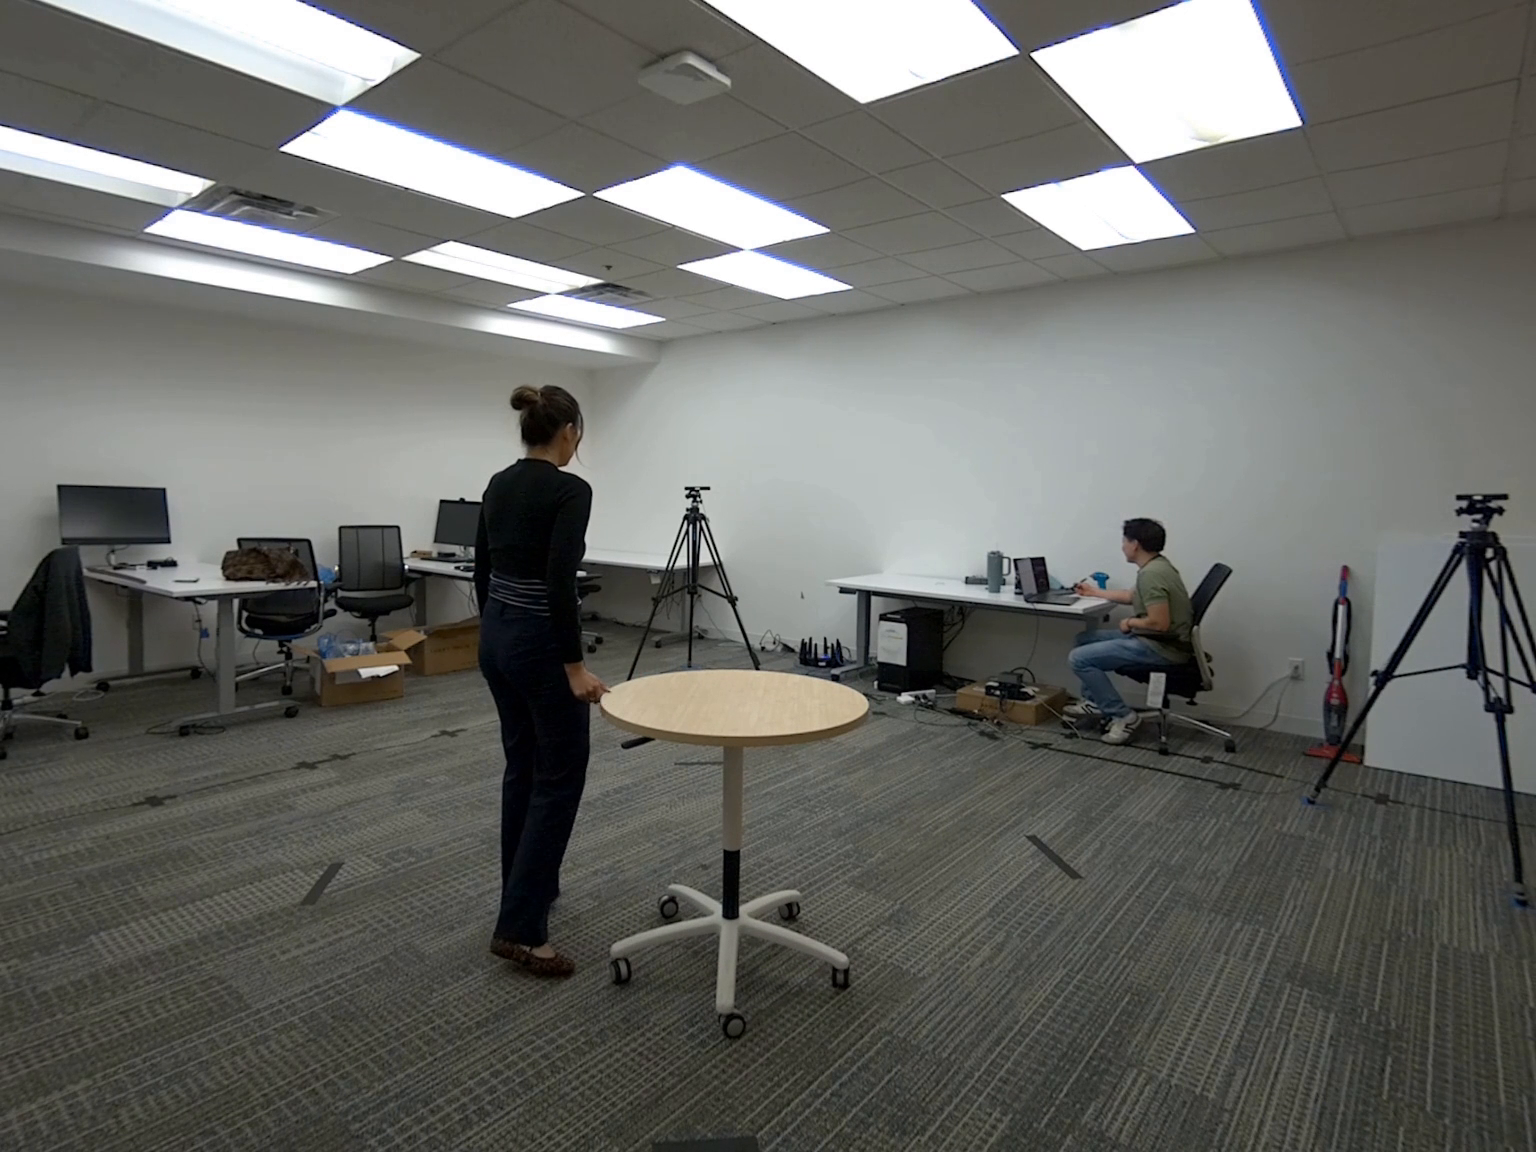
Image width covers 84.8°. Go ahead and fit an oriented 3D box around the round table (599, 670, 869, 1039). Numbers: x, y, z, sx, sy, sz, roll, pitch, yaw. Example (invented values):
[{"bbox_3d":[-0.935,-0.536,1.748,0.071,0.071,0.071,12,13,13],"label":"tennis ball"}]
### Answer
[{"bbox_3d":[-0.109,0.744,2.466,0.763,0.791,0.768,0,4,-2],"label":"round table"}]
